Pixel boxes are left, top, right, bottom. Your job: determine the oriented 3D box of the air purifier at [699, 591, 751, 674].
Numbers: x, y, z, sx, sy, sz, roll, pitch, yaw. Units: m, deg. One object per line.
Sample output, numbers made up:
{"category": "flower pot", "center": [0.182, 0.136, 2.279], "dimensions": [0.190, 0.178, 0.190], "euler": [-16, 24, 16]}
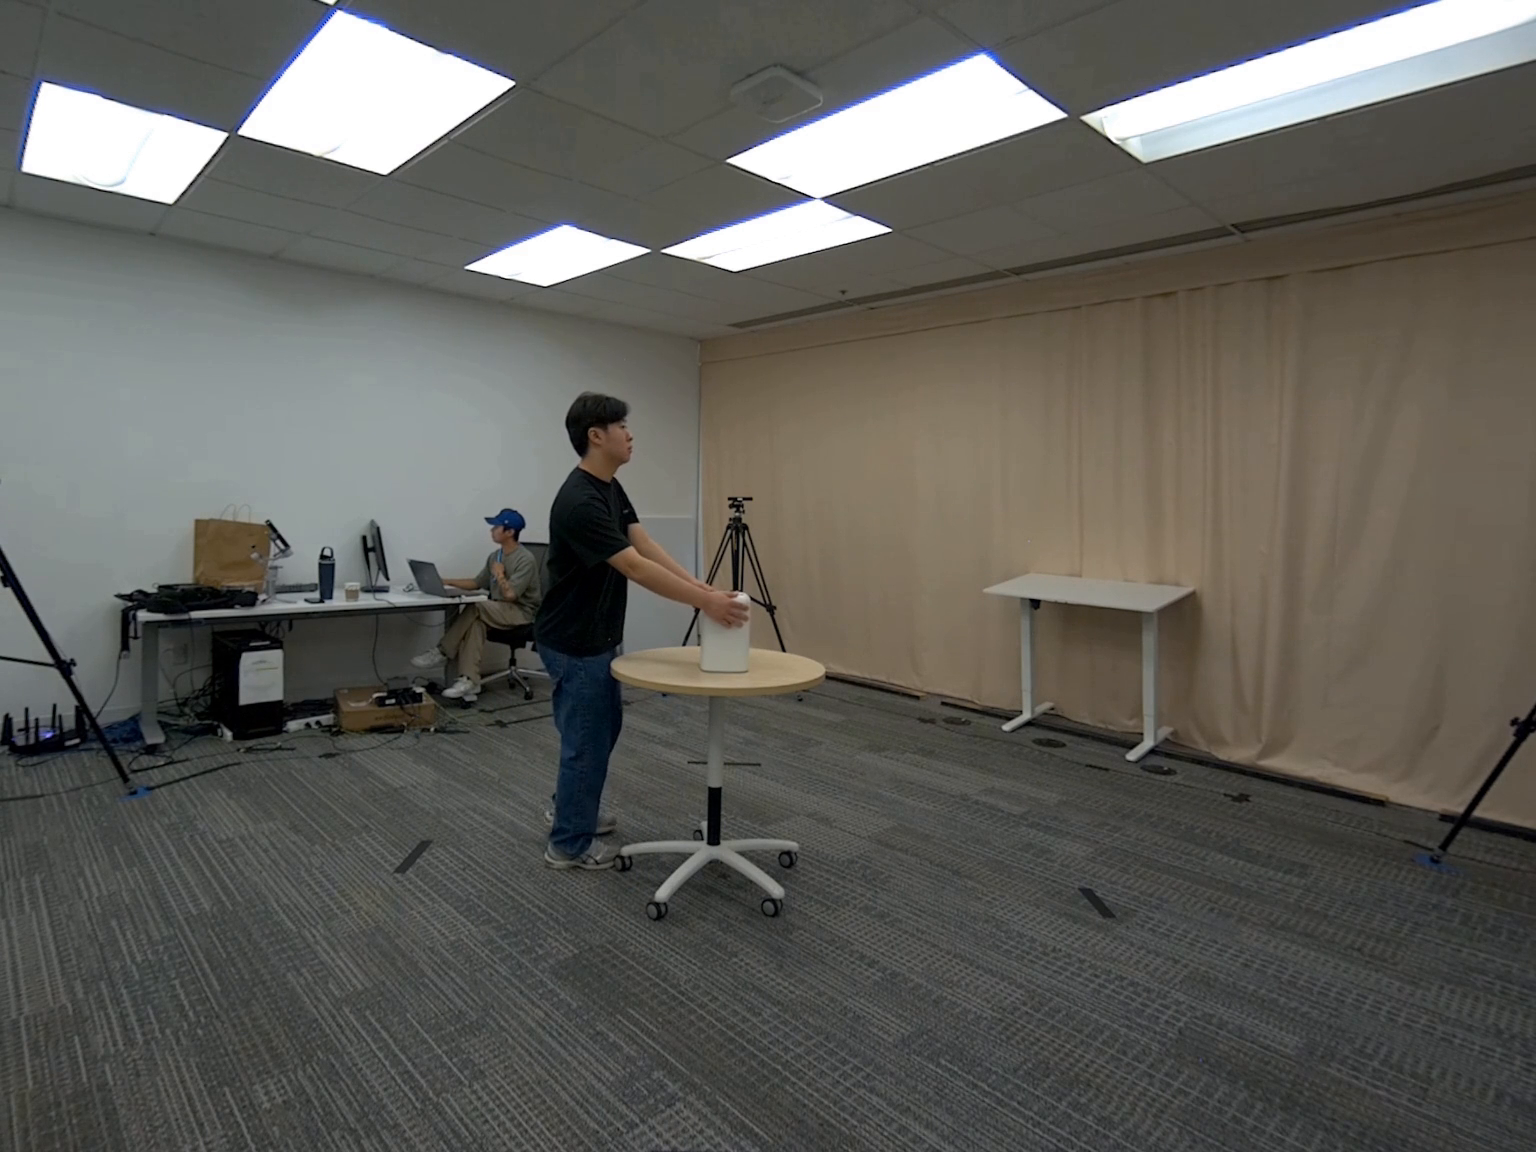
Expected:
{"category": "air purifier", "center": [-0.155, 0.194, 2.947], "dimensions": [0.171, 0.265, 0.171], "euler": [1, 2, 2]}
